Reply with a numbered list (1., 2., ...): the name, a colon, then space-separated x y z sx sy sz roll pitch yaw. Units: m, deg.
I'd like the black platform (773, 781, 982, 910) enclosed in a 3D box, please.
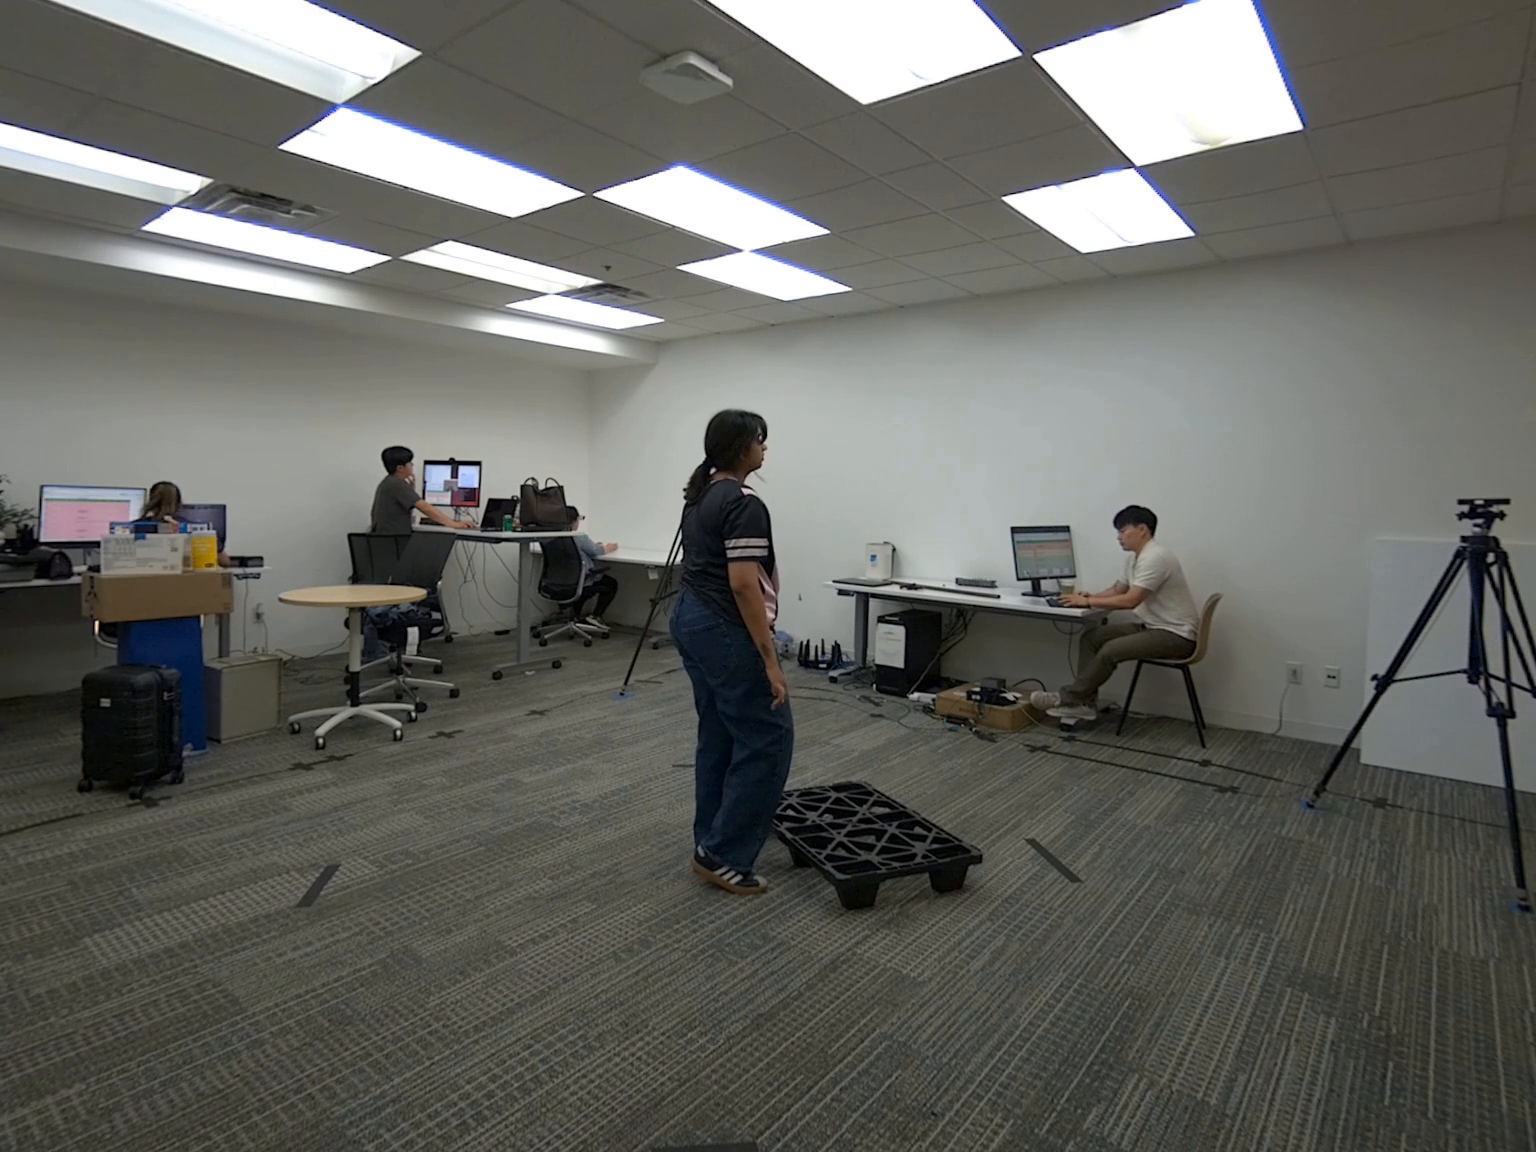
1. black platform: 0.309 1.000 3.238 0.591 0.143 0.828 -2 6 -25
